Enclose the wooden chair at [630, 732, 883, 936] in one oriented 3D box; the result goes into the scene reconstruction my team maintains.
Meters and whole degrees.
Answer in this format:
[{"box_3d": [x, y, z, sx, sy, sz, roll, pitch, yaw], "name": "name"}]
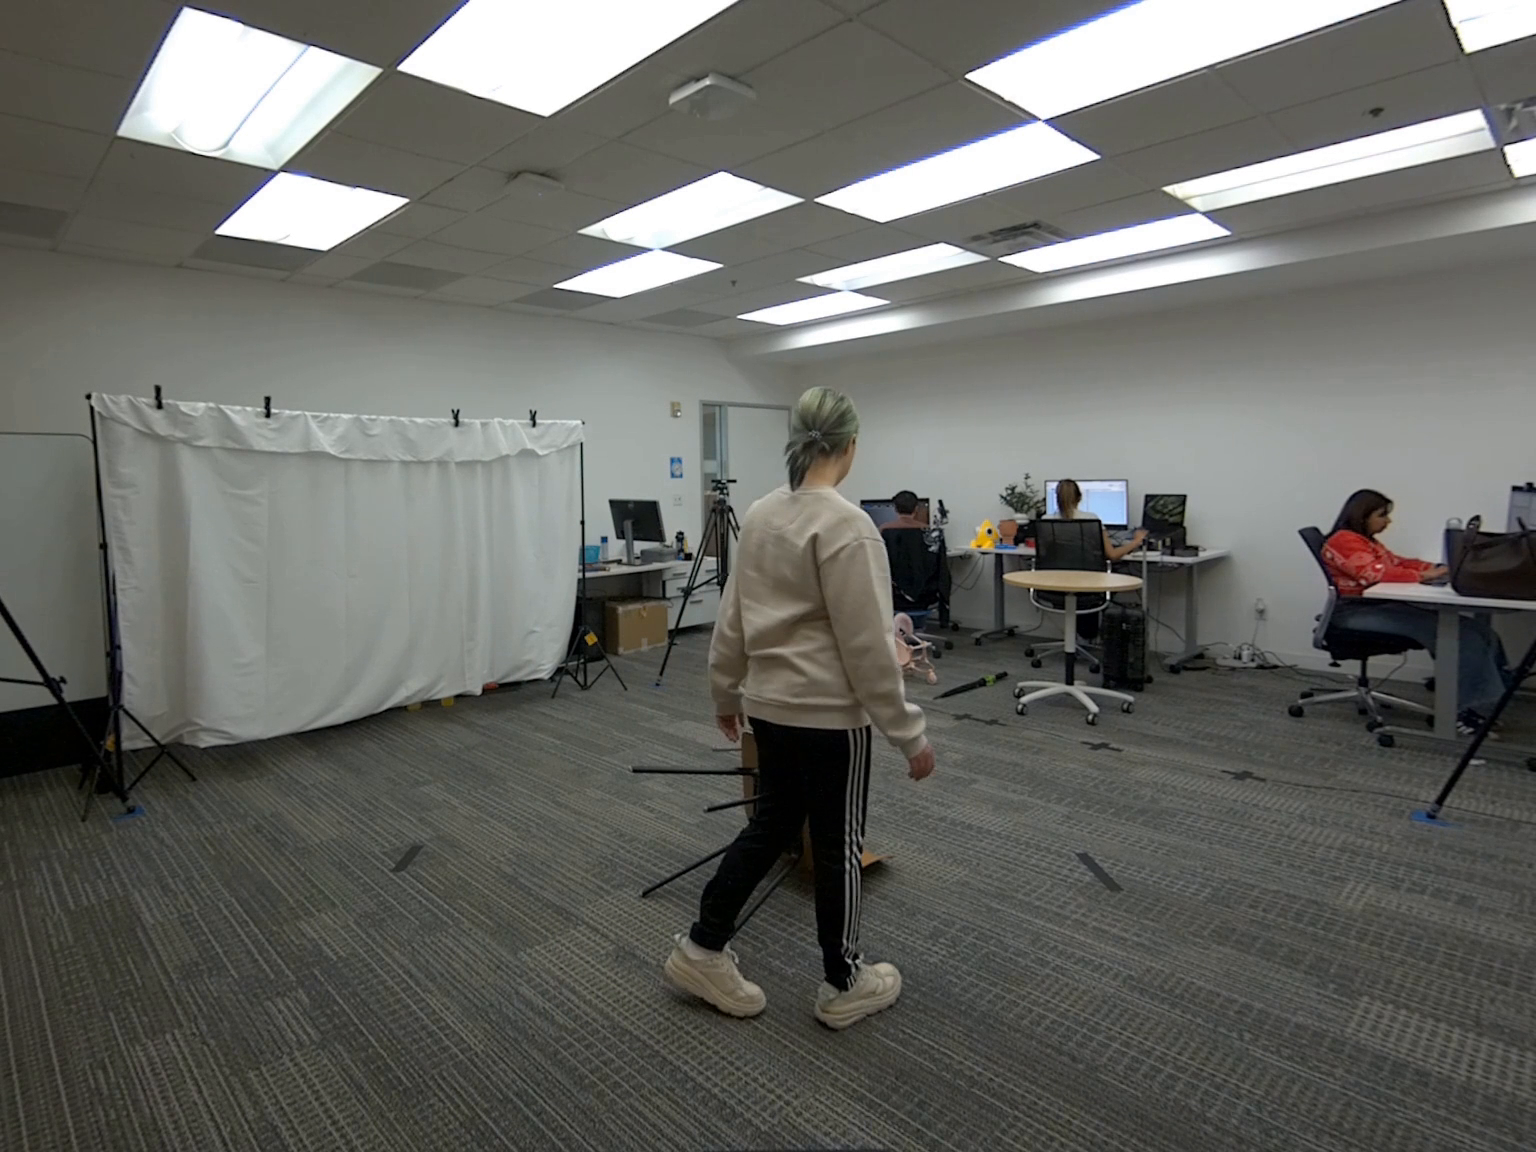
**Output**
[{"box_3d": [0.028, 0.809, 2.919, 0.854, 0.521, 0.493, -4, 6, -37], "name": "wooden chair"}]
